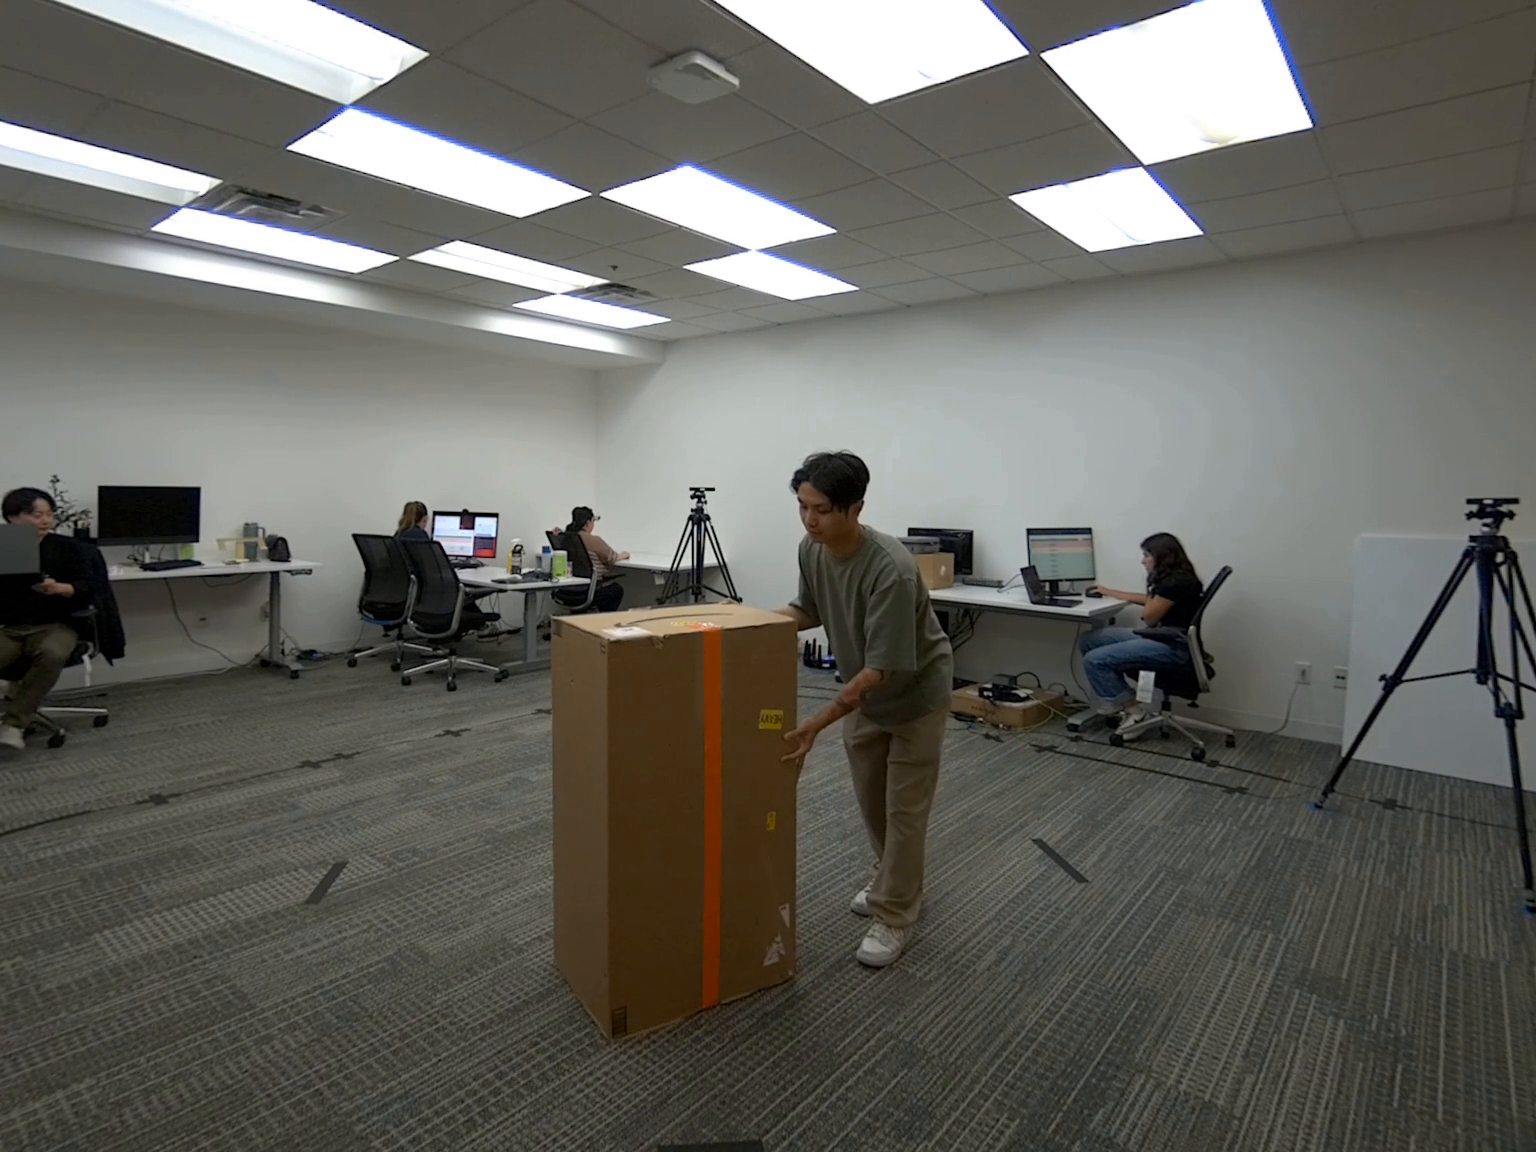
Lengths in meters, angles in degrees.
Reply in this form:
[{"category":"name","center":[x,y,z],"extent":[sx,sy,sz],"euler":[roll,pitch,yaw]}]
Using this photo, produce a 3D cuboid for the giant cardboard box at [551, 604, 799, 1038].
[{"category":"giant cardboard box","center":[-0.280,0.626,2.416],"extent":[0.562,1.022,0.439],"euler":[-3,5,-32]}]
